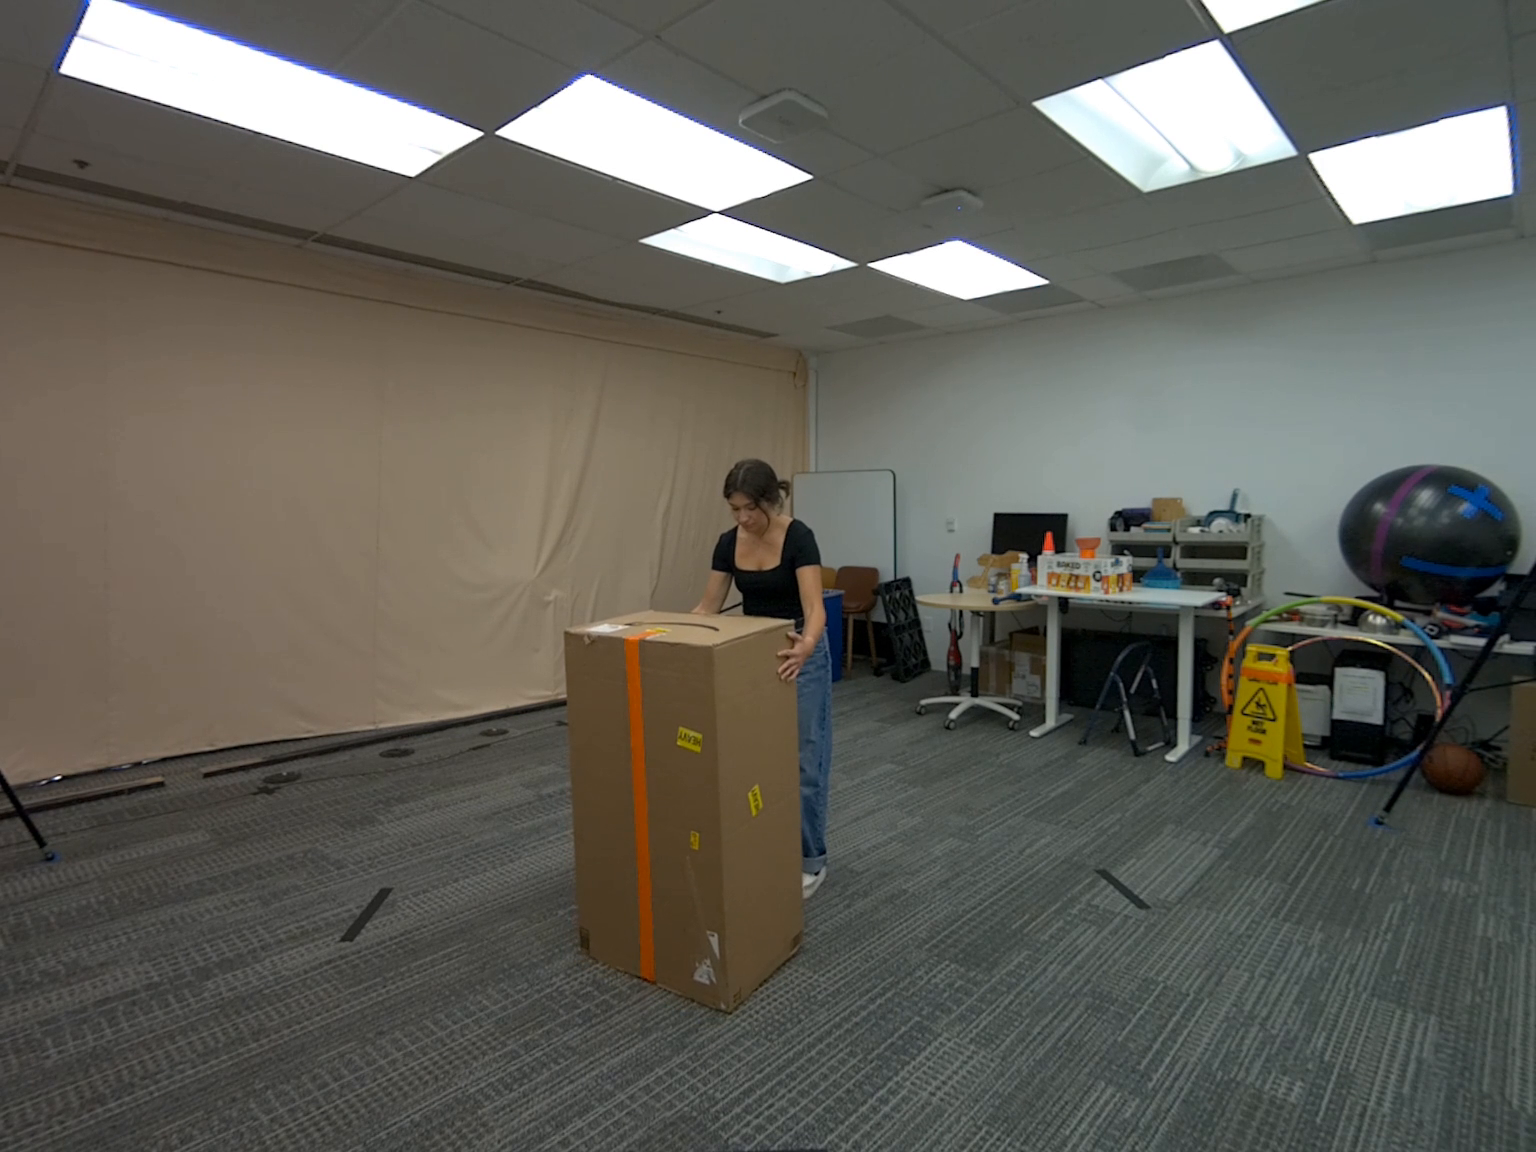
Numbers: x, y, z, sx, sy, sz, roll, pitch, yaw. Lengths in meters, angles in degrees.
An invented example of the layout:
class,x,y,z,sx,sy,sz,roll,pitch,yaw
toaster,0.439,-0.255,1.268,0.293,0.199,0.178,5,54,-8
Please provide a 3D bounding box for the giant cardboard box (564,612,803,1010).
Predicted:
class,x,y,z,sx,sy,sz,roll,pitch,yaw
giant cardboard box,-0.260,0.661,2.587,0.595,1.022,0.414,1,6,35
